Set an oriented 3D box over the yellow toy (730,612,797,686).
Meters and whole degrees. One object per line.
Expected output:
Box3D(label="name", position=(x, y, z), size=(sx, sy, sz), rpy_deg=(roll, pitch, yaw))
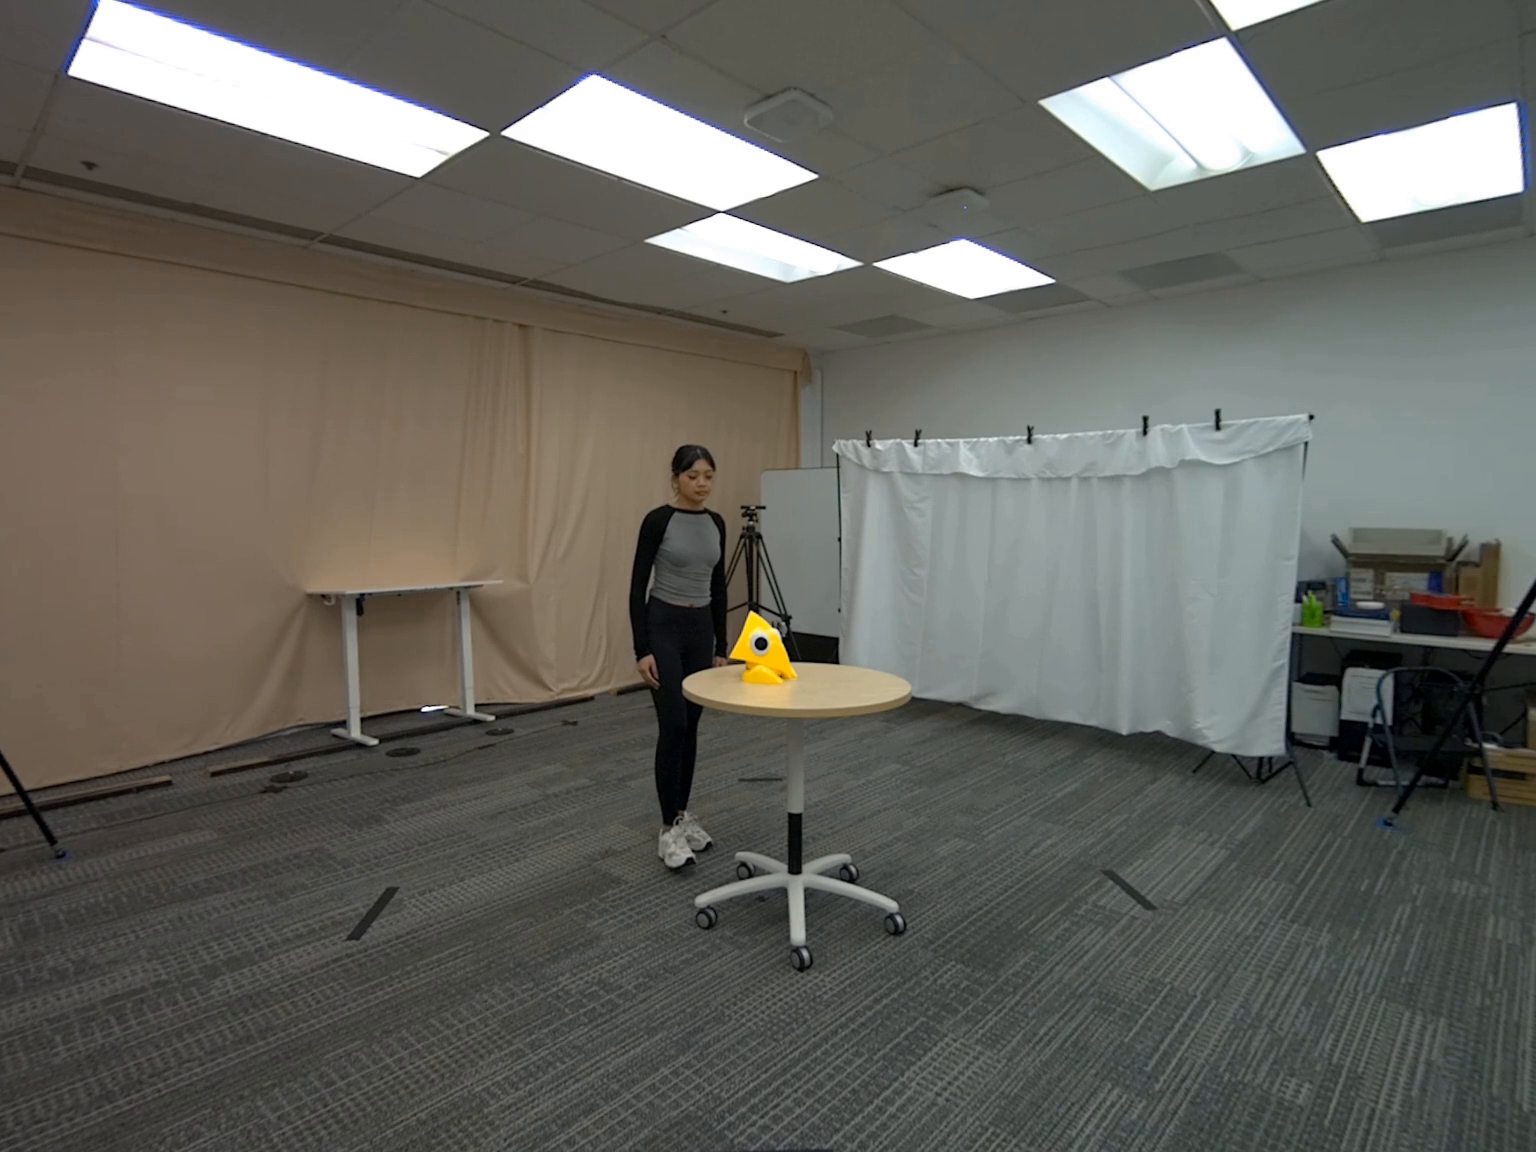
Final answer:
Box3D(label="yellow toy", position=(0.001, 0.241, 2.926), size=(0.198, 0.230, 0.200), rpy_deg=(1, 4, 27))
